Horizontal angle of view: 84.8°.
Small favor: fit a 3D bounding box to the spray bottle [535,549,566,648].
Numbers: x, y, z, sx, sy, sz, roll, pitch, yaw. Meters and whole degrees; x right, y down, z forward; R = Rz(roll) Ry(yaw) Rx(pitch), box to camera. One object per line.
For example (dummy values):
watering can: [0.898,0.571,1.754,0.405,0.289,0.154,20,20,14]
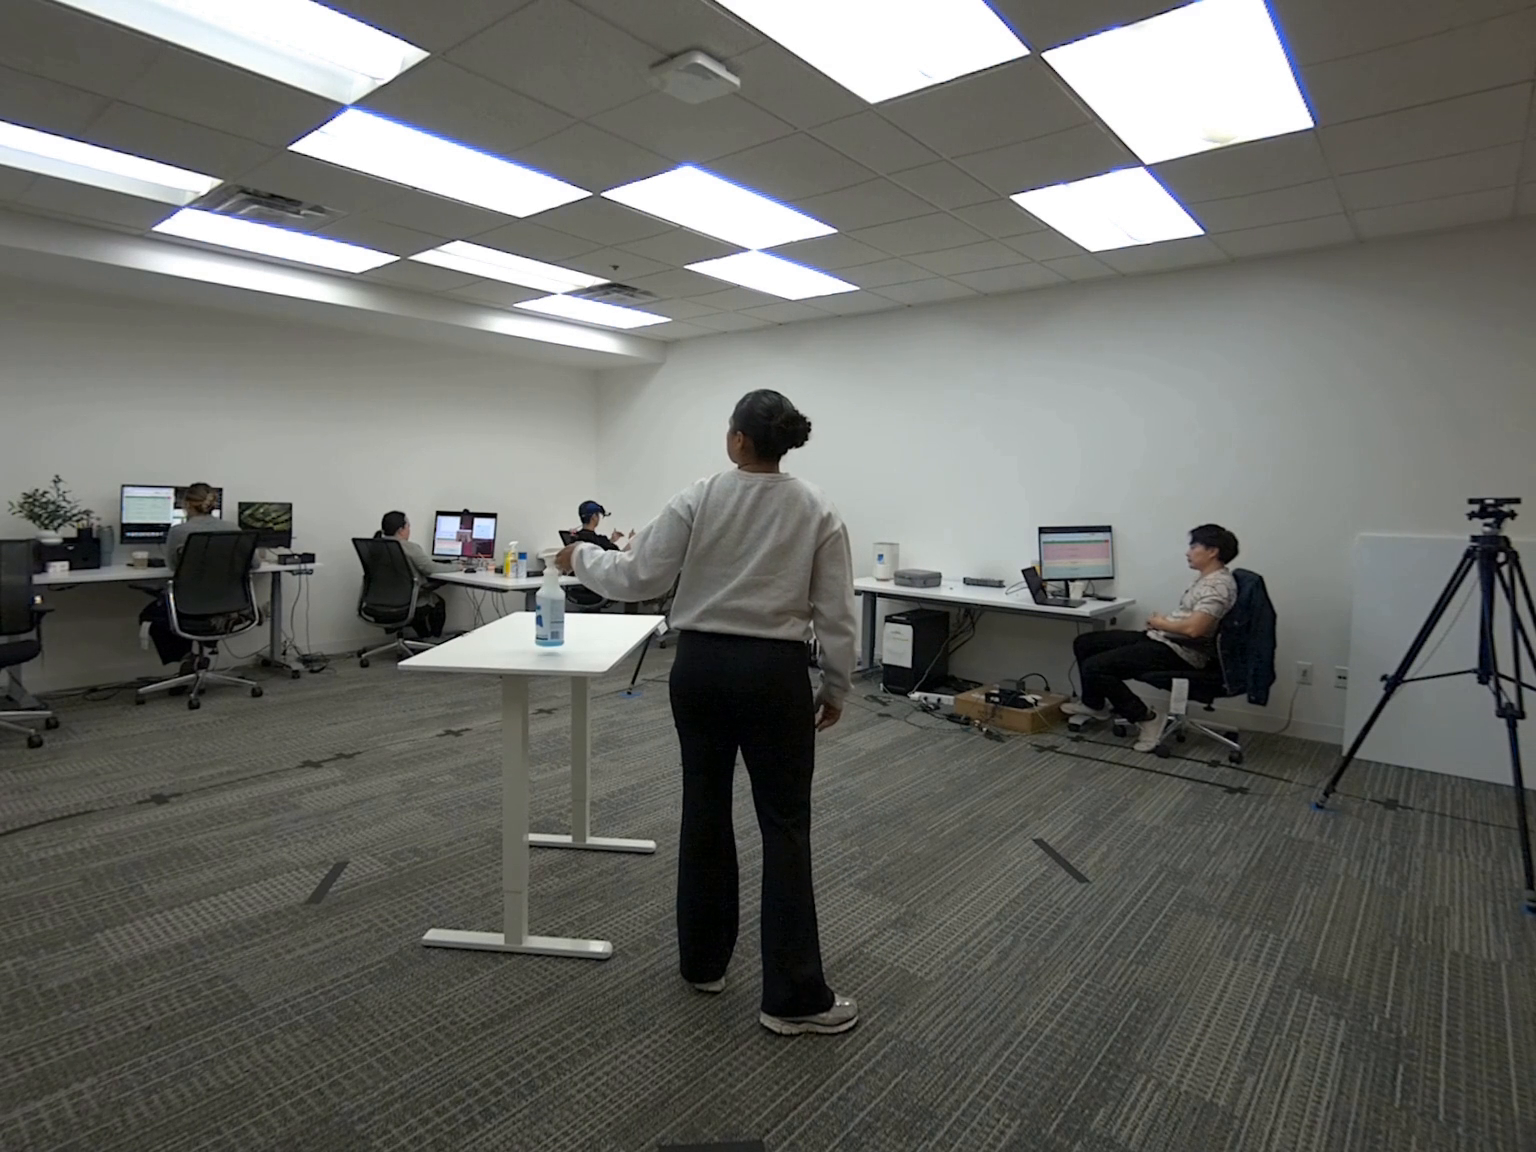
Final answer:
spray bottle: [-0.659,0.059,2.563,0.092,0.298,0.084,3,-1,26]
